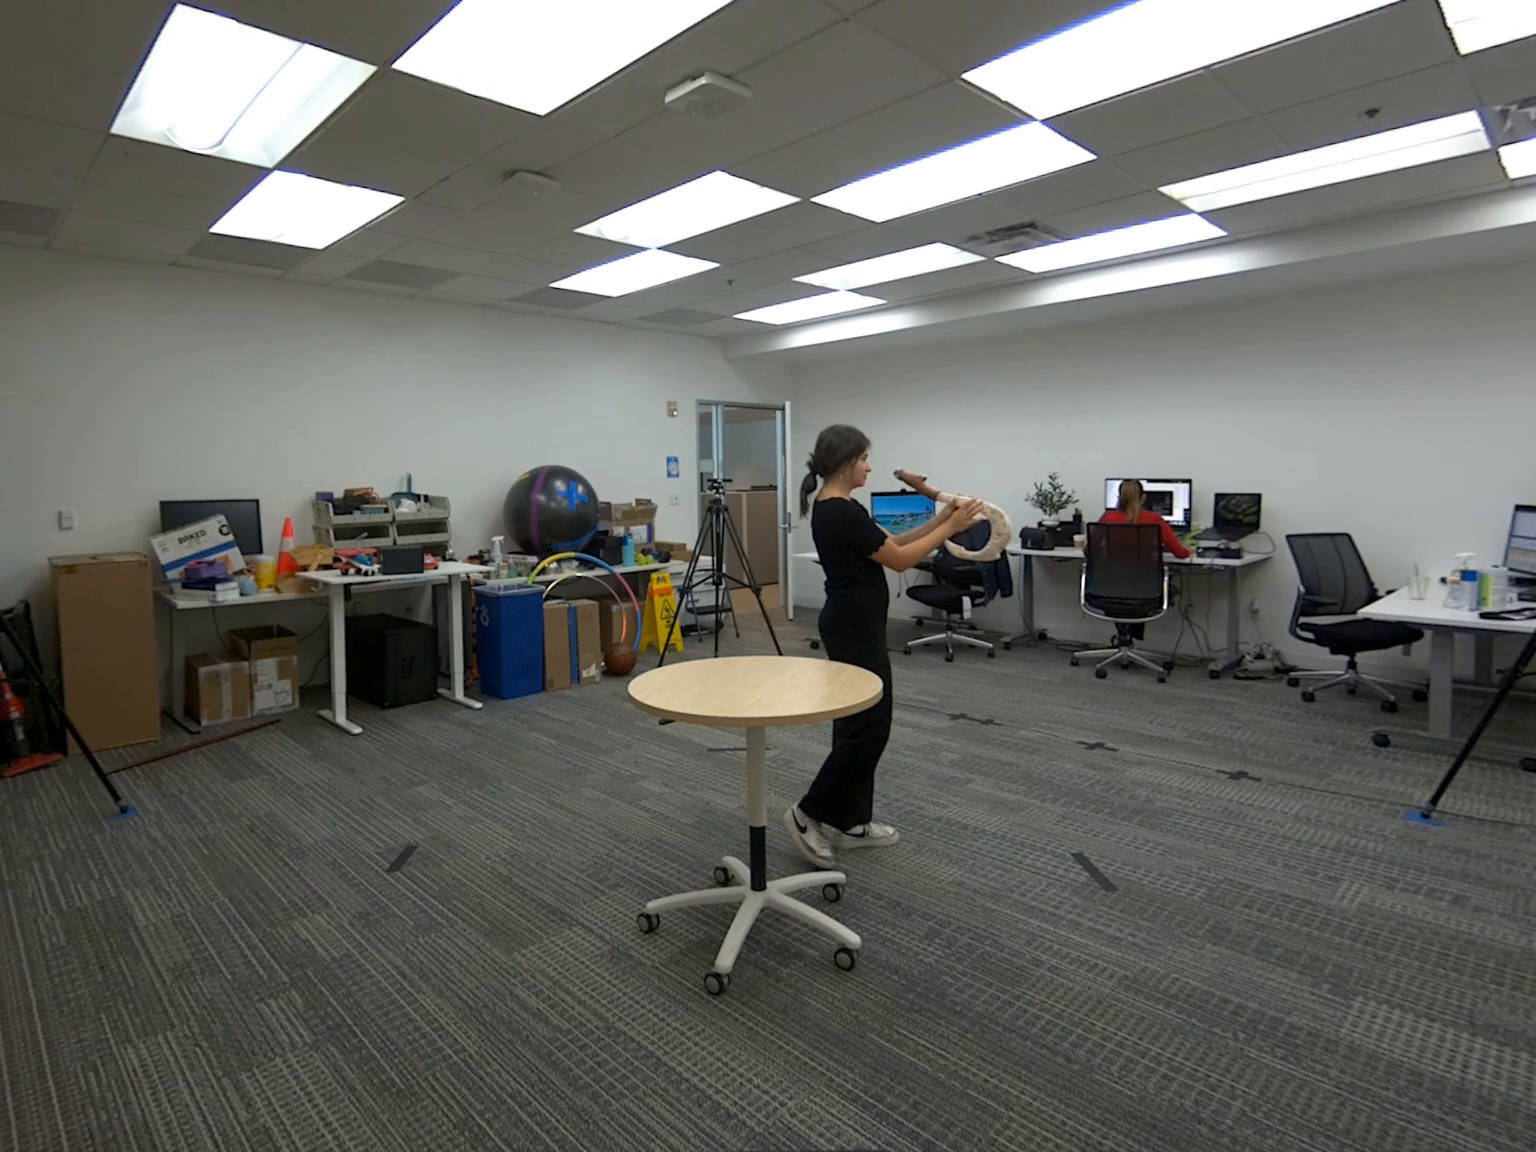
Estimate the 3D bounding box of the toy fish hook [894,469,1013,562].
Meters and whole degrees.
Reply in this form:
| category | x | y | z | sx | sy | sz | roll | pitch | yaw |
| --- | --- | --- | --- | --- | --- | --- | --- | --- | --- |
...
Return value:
| category | x | y | z | sx | sy | sz | roll | pitch | yaw |
| --- | --- | --- | --- | --- | --- | --- | --- | --- | --- |
| toy fish hook | 0.637 | -0.225 | 3.138 | 0.524 | 0.224 | 0.047 | 34 | 0 | 29 |
